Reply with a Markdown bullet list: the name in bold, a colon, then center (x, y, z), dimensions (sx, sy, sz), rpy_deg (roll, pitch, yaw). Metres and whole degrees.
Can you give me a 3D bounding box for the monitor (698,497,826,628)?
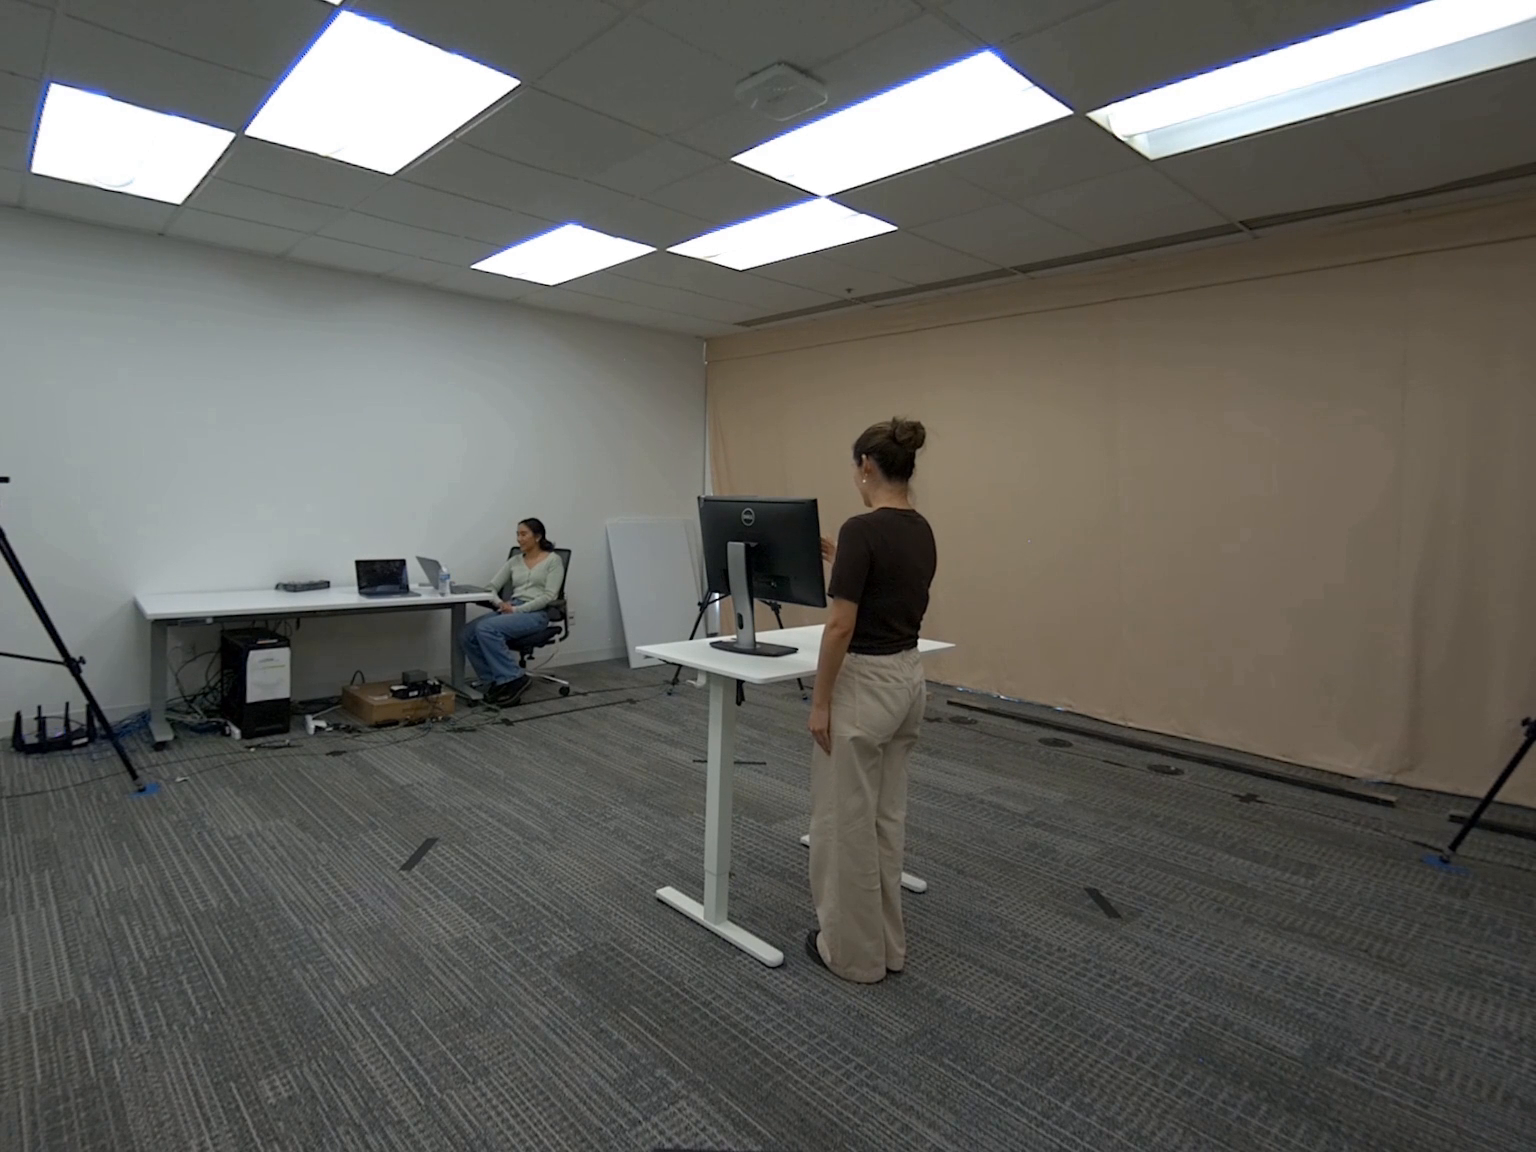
- **monitor**: center (-0.054, -0.002, 2.799), dimensions (0.182, 0.521, 0.553), rpy_deg (0, 4, -45)
